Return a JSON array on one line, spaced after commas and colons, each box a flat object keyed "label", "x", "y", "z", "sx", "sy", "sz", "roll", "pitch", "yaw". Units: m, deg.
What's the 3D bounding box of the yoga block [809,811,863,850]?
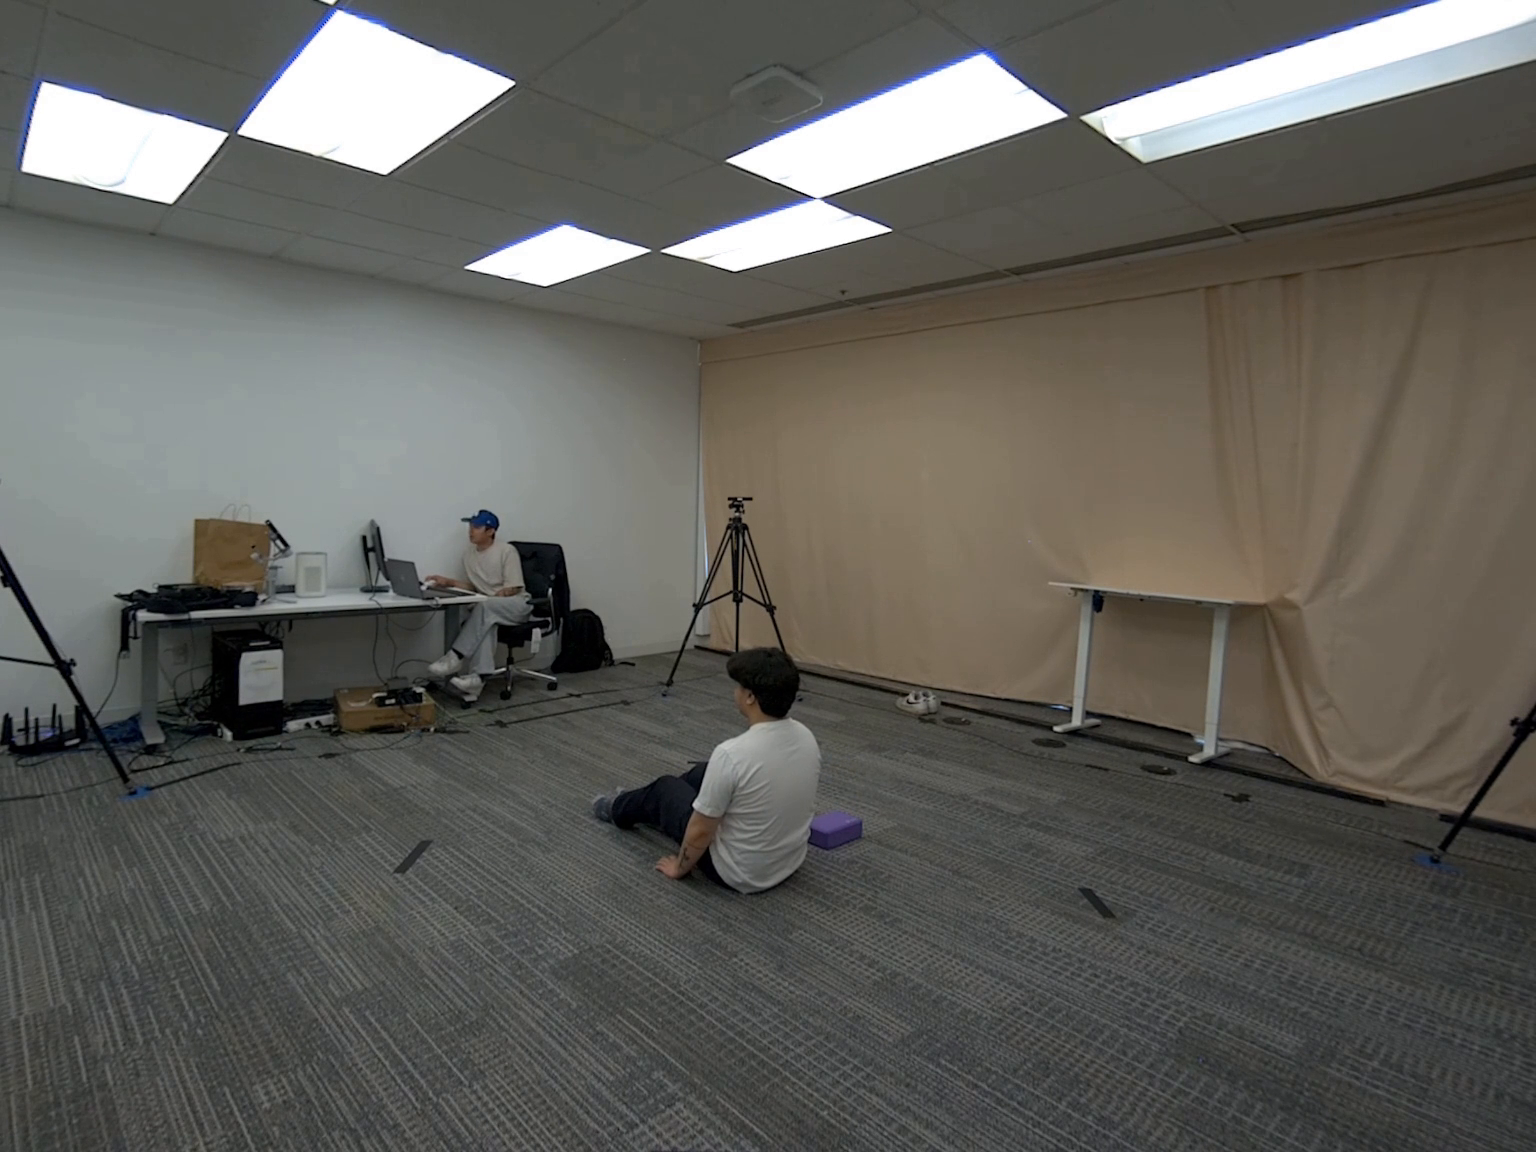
[{"label": "yoga block", "x": 0.253, "y": 1.043, "z": 3.476, "sx": 0.153, "sy": 0.076, "sz": 0.224, "roll": 5, "pitch": 5, "yaw": 45}]
